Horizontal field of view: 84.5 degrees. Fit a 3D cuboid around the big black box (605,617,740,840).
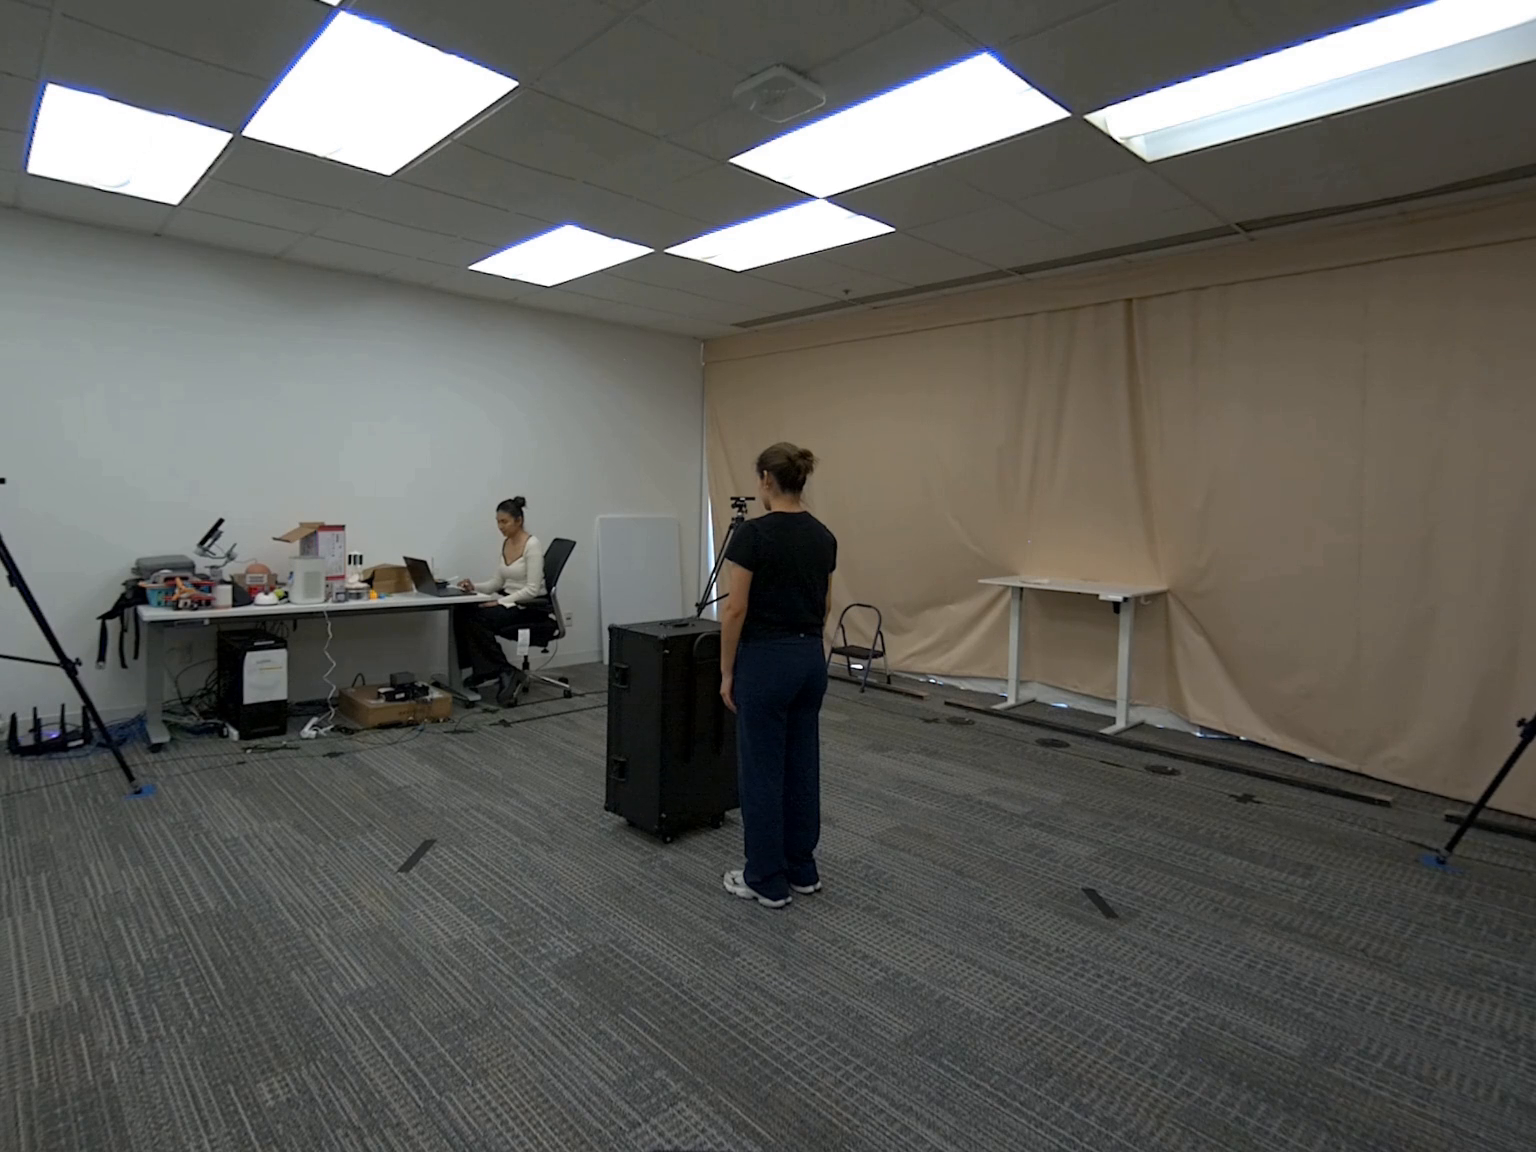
[{"bbox_3d":[-0.381,0.634,3.550,0.406,0.859,0.509,6,5,44],"label":"big black box"}]
